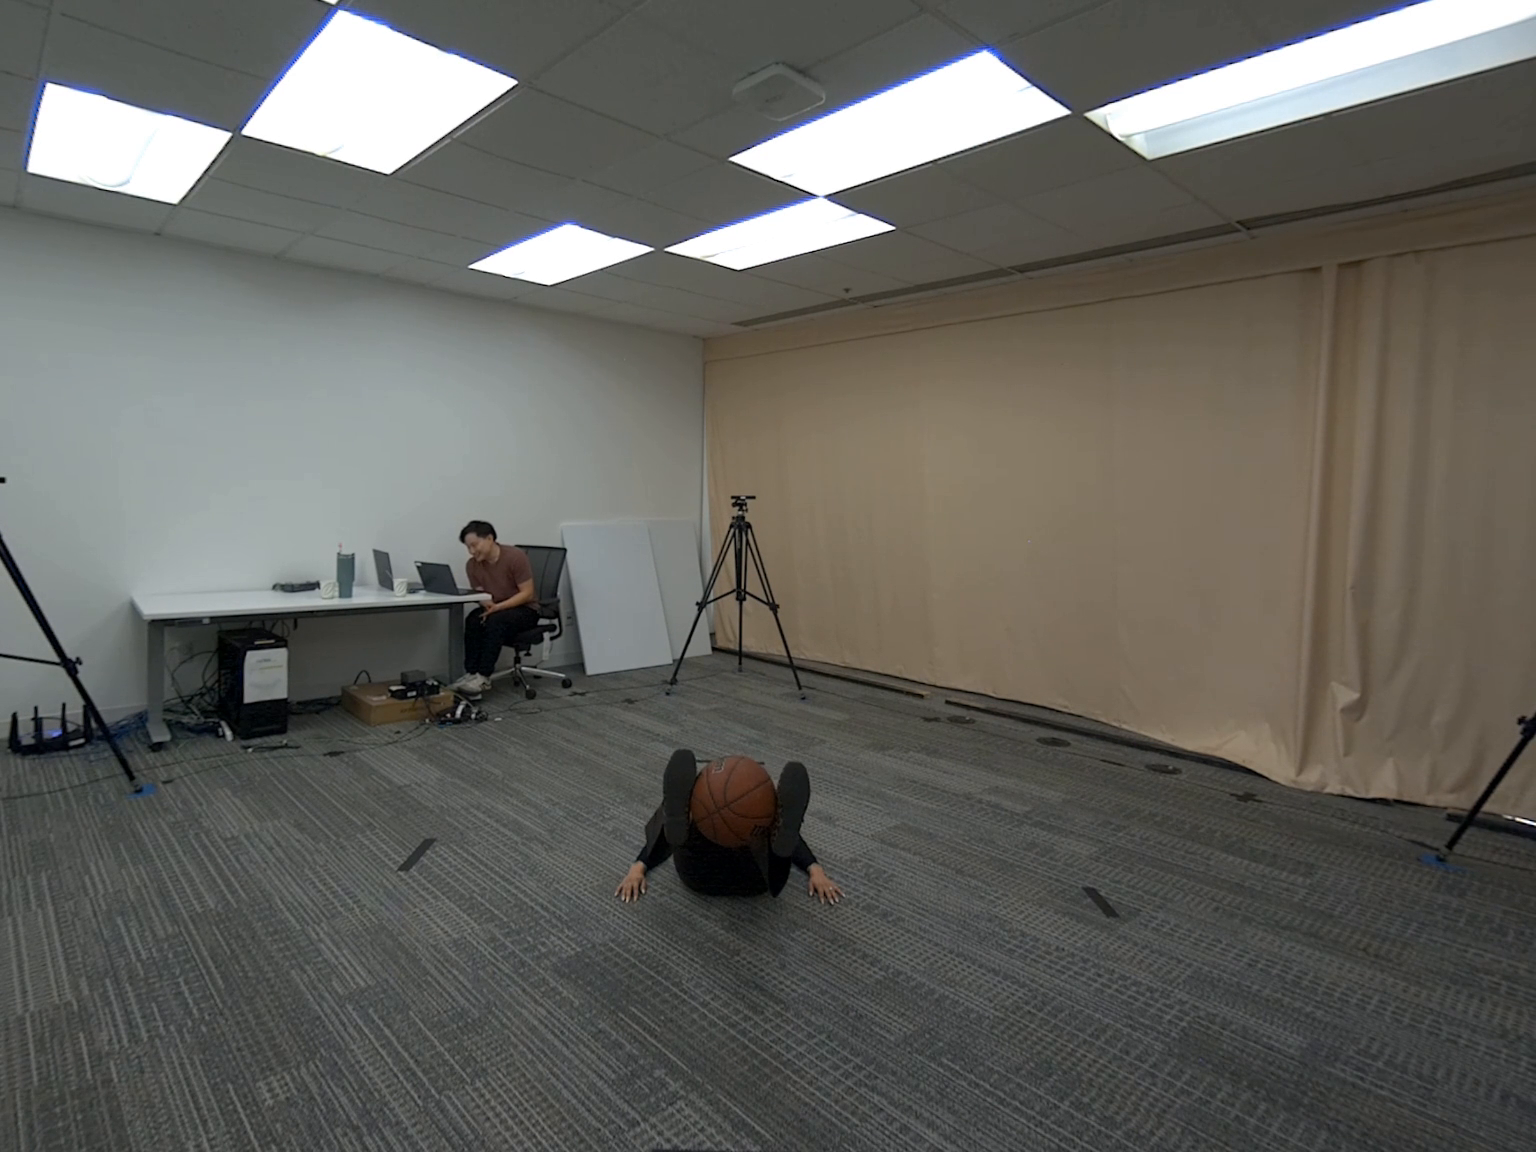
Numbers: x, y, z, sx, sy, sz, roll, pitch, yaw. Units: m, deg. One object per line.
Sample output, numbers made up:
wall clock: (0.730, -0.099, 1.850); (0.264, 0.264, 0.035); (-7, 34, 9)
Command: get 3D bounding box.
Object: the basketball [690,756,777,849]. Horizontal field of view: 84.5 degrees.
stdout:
basketball: (-0.095, 0.601, 2.265); (0.235, 0.235, 0.237); (4, 5, -2)
